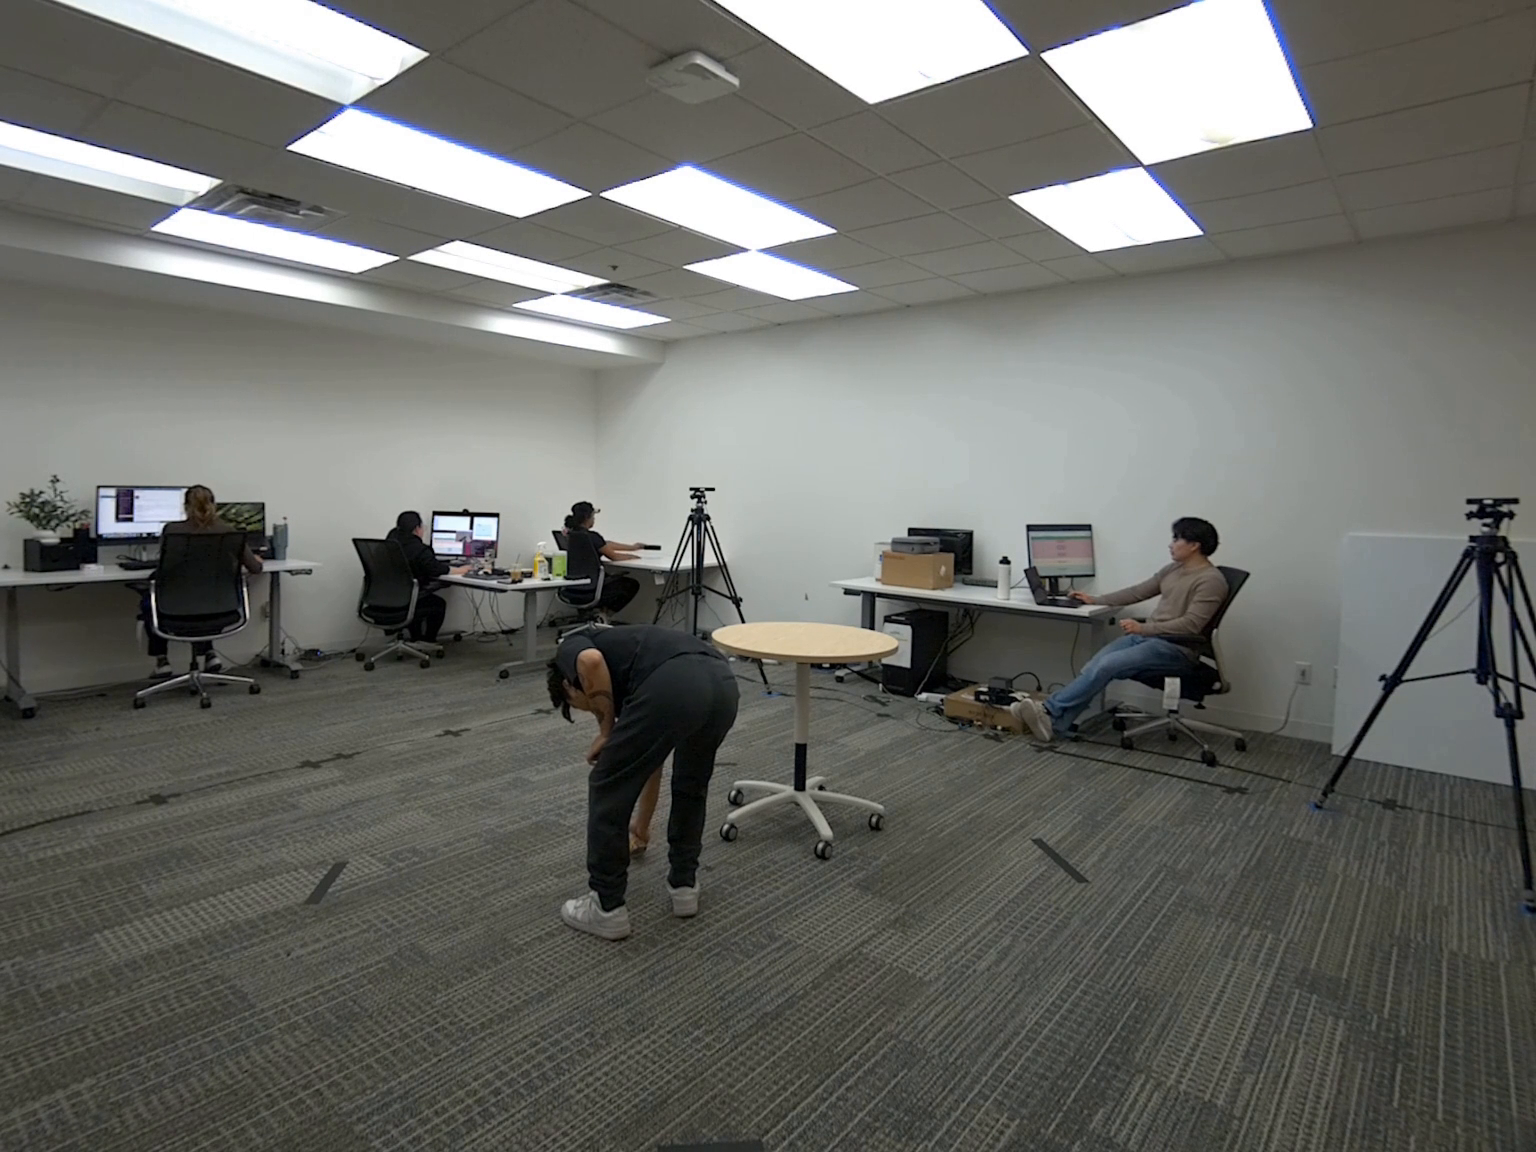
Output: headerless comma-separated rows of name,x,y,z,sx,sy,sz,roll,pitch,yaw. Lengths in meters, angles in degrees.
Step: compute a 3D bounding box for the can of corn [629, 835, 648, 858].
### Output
can of corn,-0.513,0.979,3.201,0.073,0.072,0.115,0,33,-13
